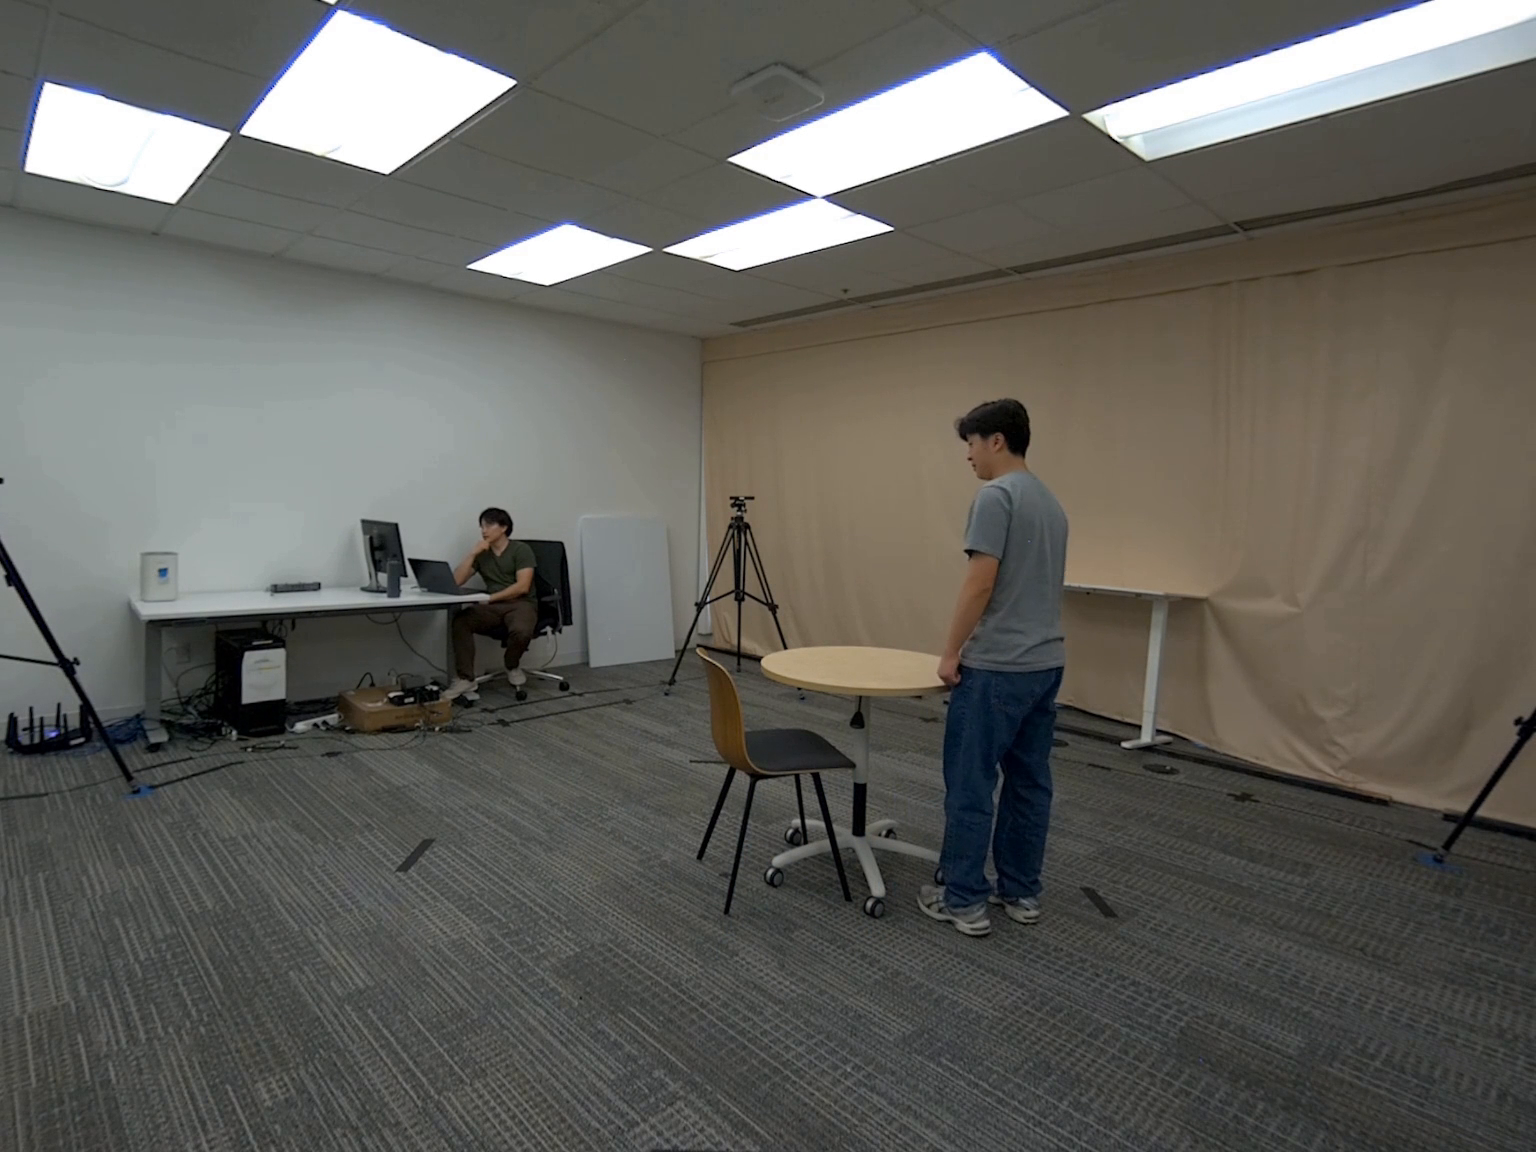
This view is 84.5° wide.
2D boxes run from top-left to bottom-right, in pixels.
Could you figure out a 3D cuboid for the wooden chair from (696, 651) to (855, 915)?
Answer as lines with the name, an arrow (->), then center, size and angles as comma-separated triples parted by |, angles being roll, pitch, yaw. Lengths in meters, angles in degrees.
wooden chair -> 0.018, 0.679, 3.045 | 0.517, 0.874, 0.485 | -4, 4, -16
